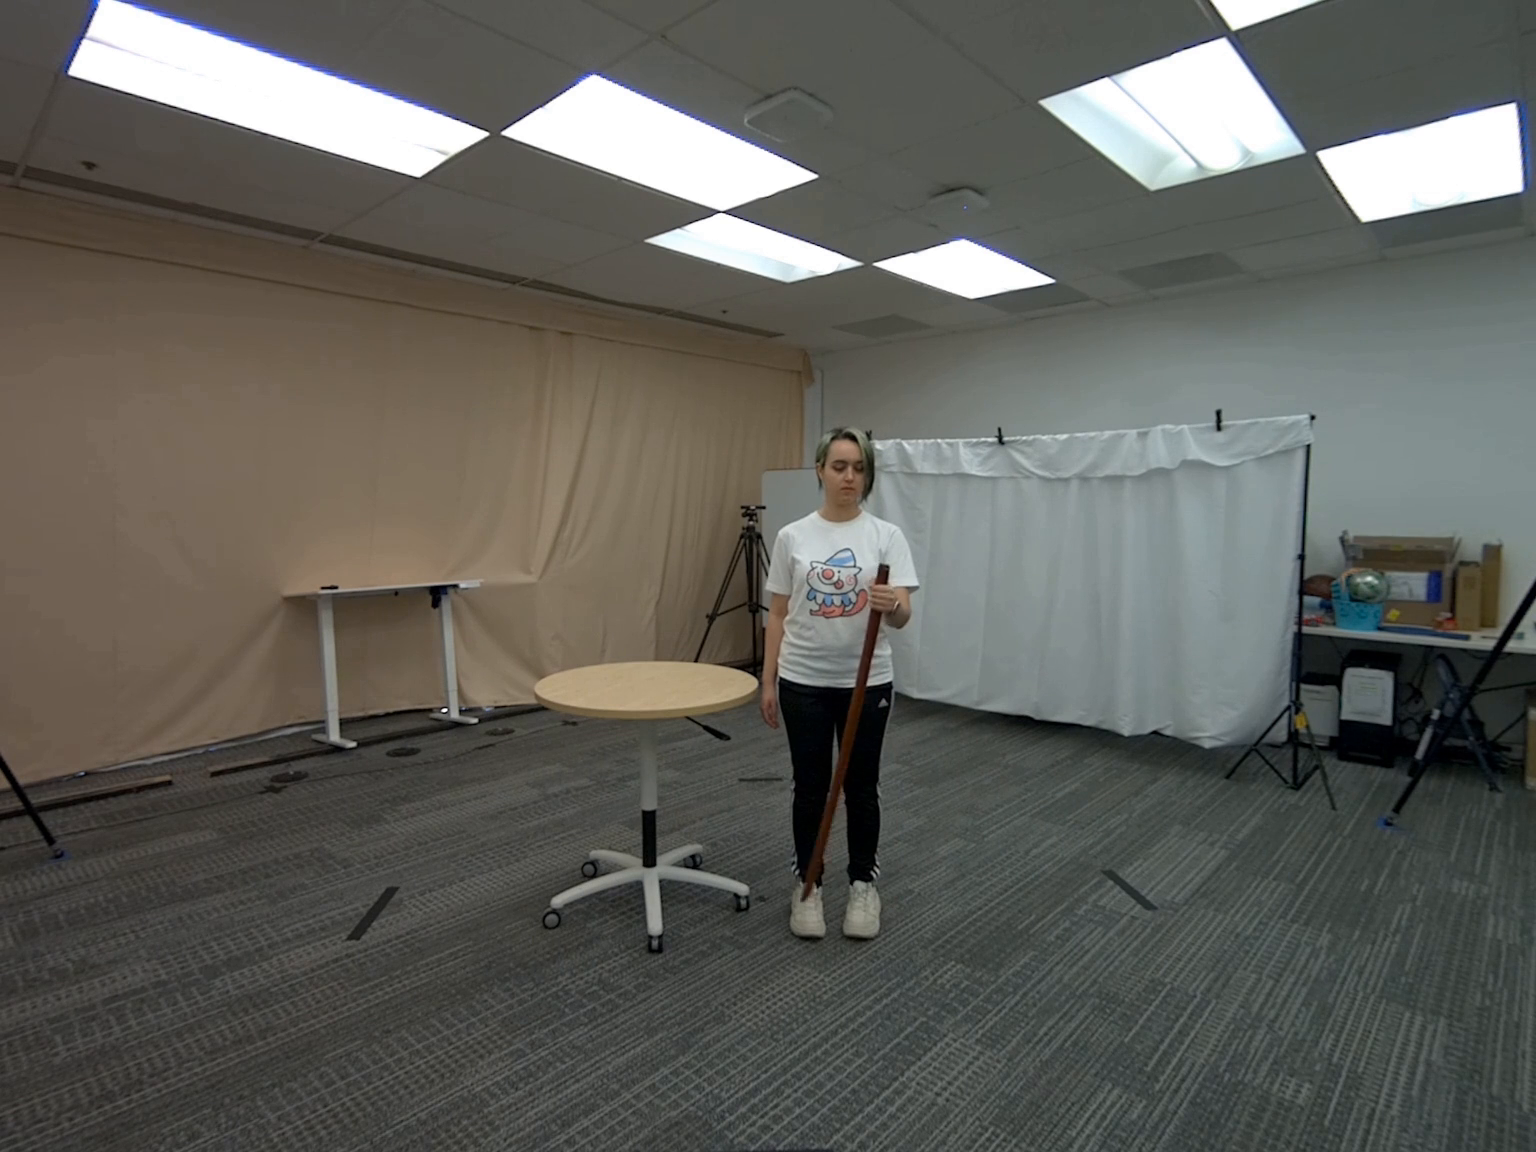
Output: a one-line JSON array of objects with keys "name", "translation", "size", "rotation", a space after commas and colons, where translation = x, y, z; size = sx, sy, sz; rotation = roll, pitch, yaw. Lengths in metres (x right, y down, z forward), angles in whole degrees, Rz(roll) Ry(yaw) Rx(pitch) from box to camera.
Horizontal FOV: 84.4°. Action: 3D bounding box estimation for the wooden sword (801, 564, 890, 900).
[{"name": "wooden sword", "translation": [0.220, 0.479, 2.426], "size": [0.053, 1.021, 0.023], "rotation": [16, 10, 33]}]
